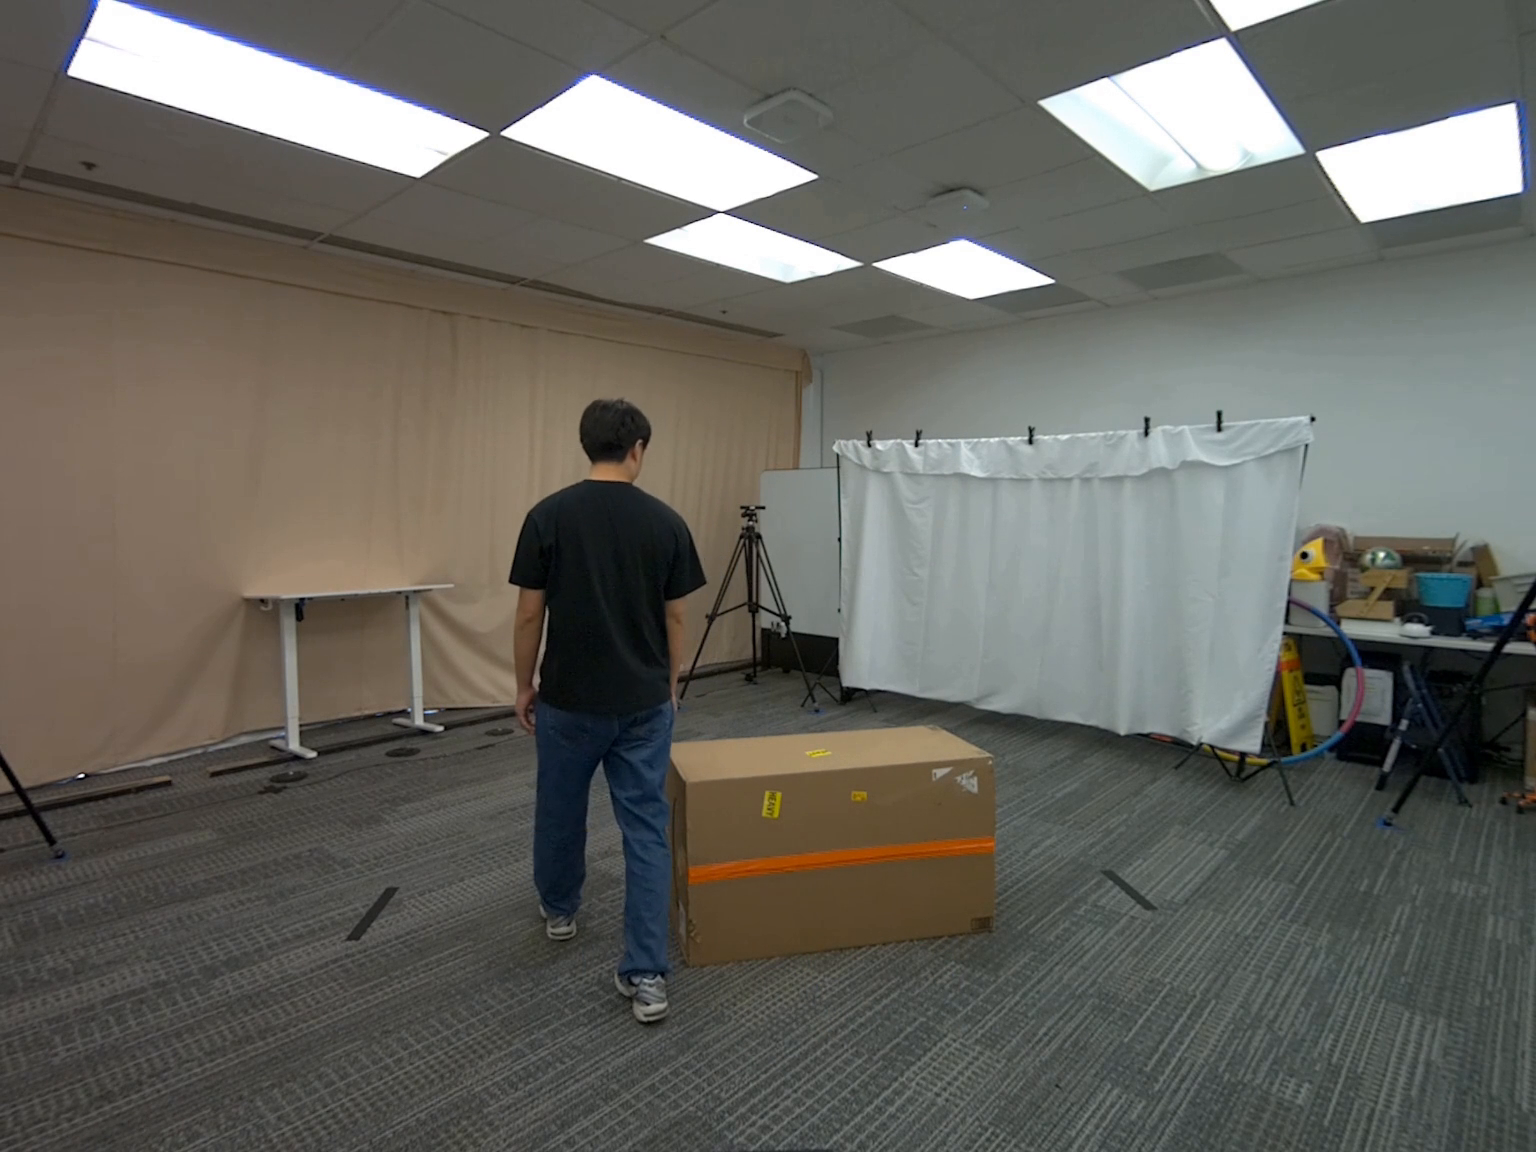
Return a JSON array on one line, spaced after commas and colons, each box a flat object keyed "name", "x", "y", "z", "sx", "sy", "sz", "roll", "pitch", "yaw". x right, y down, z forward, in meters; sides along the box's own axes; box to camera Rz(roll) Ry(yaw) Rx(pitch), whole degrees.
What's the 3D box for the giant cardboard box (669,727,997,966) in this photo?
[{"name": "giant cardboard box", "x": 0.192, "y": 0.867, "z": 2.831, "sx": 1.013, "sy": 0.582, "sz": 0.454, "roll": -2, "pitch": 4, "yaw": -13}]
